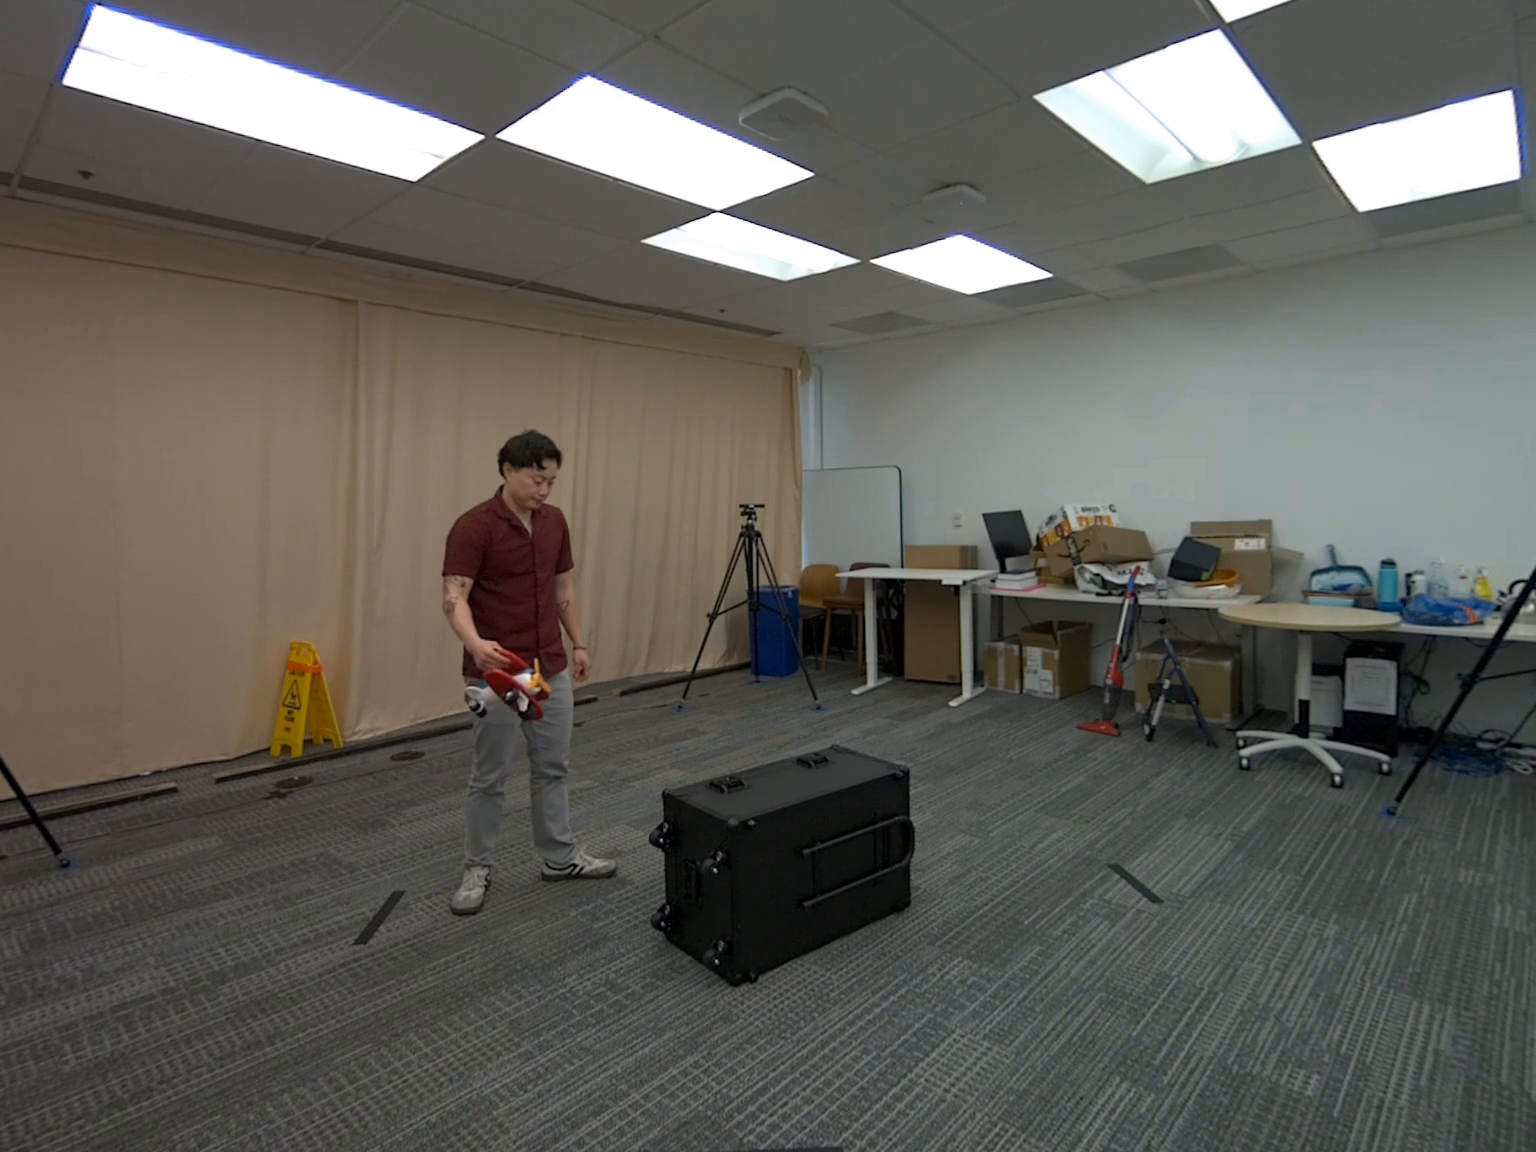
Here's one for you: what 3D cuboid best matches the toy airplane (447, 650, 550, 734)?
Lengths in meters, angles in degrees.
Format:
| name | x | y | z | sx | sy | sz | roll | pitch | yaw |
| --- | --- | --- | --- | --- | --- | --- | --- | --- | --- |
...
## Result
| name | x | y | z | sx | sy | sz | roll | pitch | yaw |
| --- | --- | --- | --- | --- | --- | --- | --- | --- | --- |
| toy airplane | -0.822 | 0.351 | 2.664 | 0.263 | 0.157 | 0.246 | 11 | -40 | 11 |
